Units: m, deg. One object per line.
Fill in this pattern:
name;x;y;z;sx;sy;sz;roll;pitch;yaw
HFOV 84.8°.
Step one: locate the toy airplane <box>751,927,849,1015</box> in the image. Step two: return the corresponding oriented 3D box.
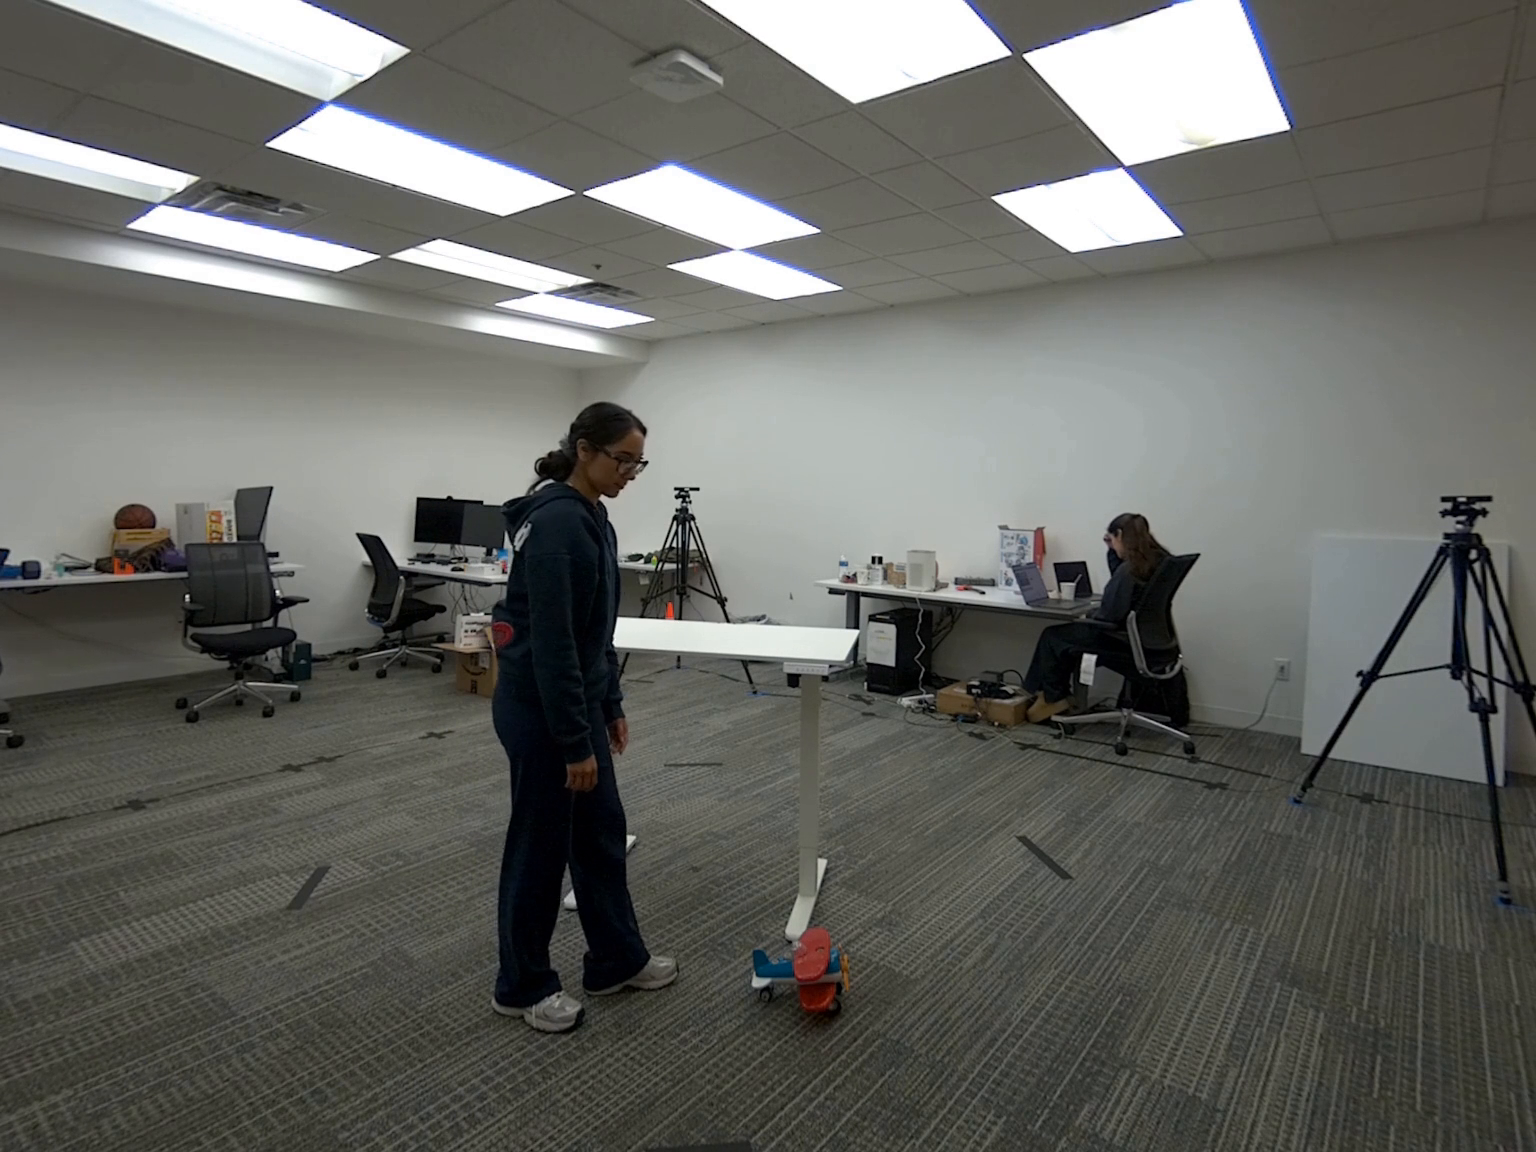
toy airplane;0.095;1.084;2.287;0.254;0.156;0.257;1;6;-20
